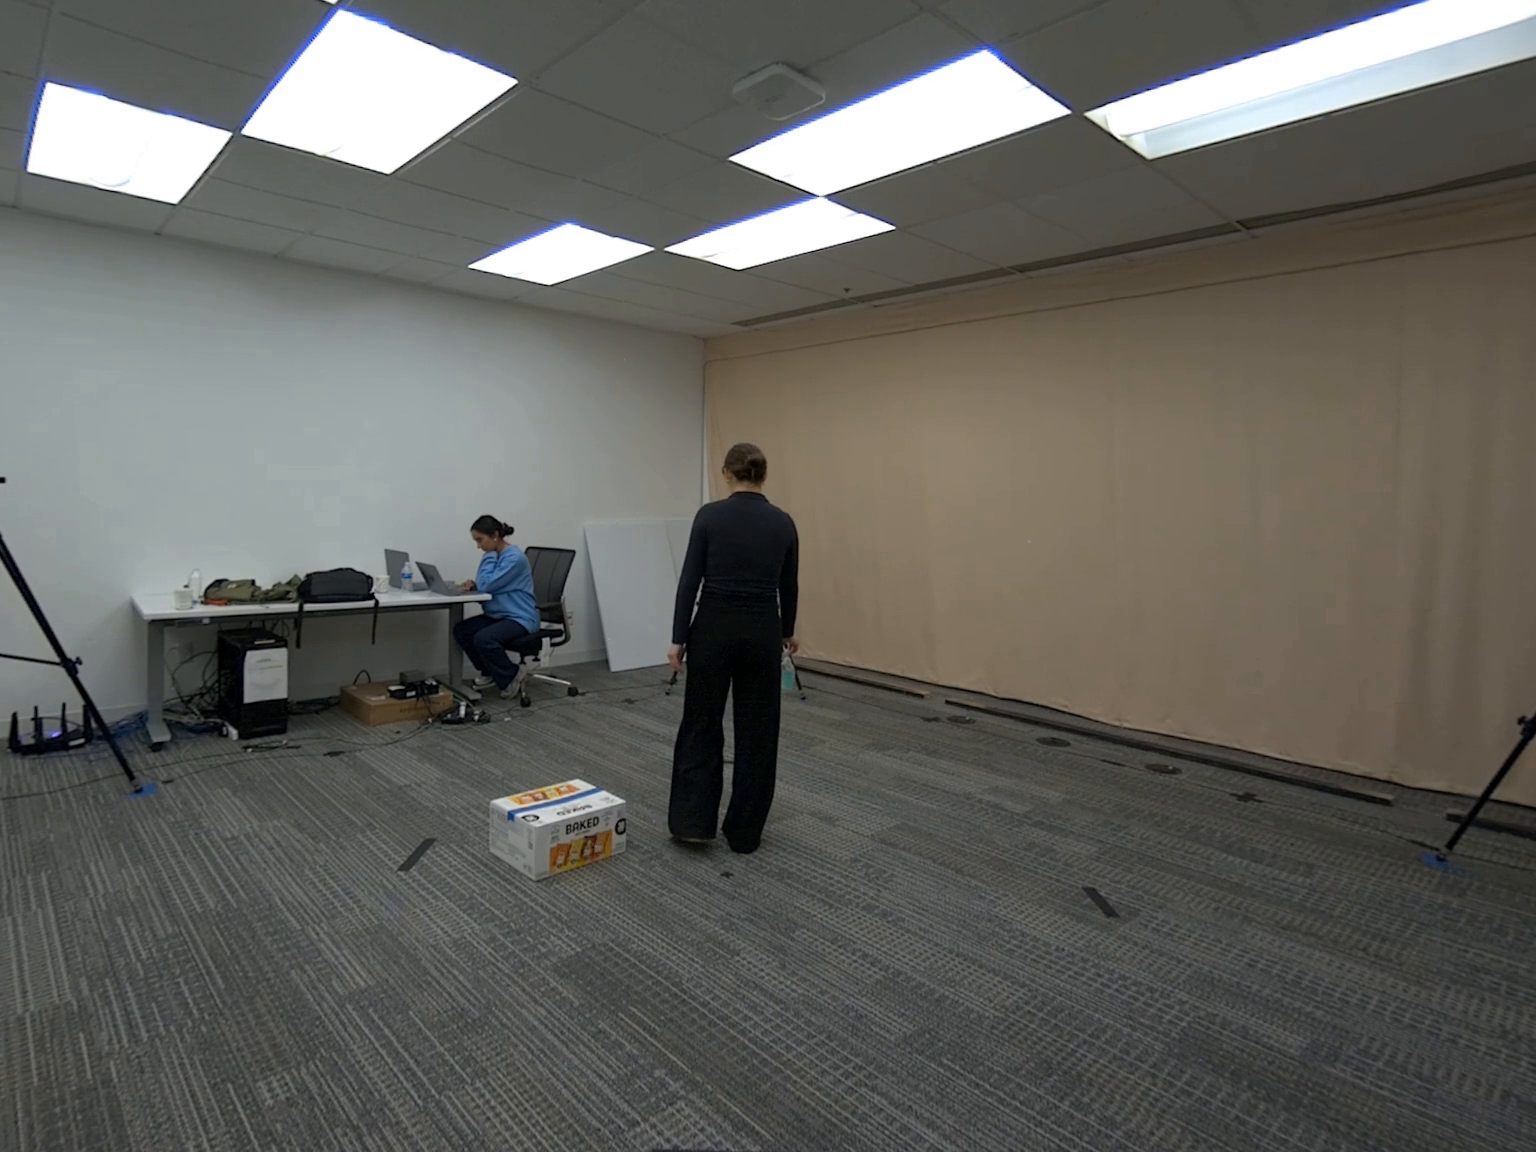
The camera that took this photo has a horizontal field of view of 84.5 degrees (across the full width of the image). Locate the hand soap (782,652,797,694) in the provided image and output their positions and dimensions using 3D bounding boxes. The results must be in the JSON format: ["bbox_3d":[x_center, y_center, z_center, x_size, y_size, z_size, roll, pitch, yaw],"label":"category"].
[{"bbox_3d":[0.070,0.405,3.626,0.087,0.167,0.042,12,14,43],"label":"hand soap"}]
